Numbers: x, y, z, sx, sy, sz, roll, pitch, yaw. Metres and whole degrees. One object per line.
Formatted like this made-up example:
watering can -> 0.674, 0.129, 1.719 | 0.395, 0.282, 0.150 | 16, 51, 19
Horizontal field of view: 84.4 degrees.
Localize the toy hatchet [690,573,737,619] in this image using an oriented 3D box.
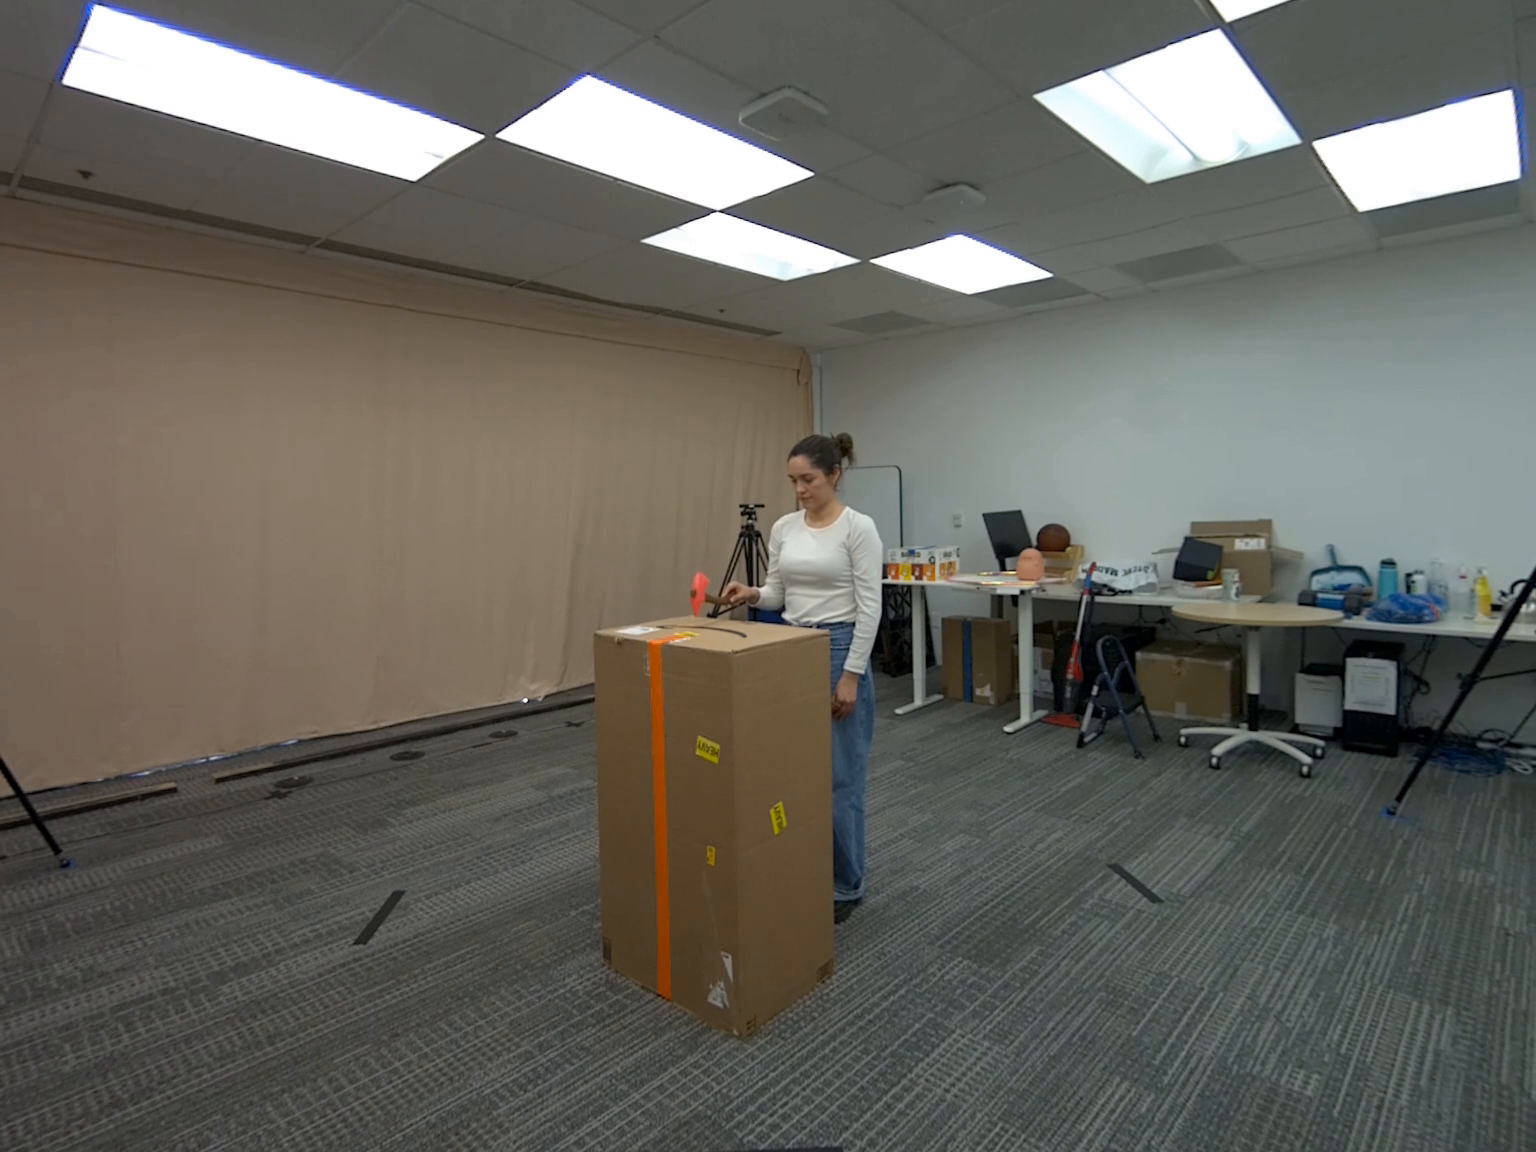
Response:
toy hatchet -> -0.176, 0.047, 2.674 | 0.030, 0.131, 0.264 | -6, 4, 27
